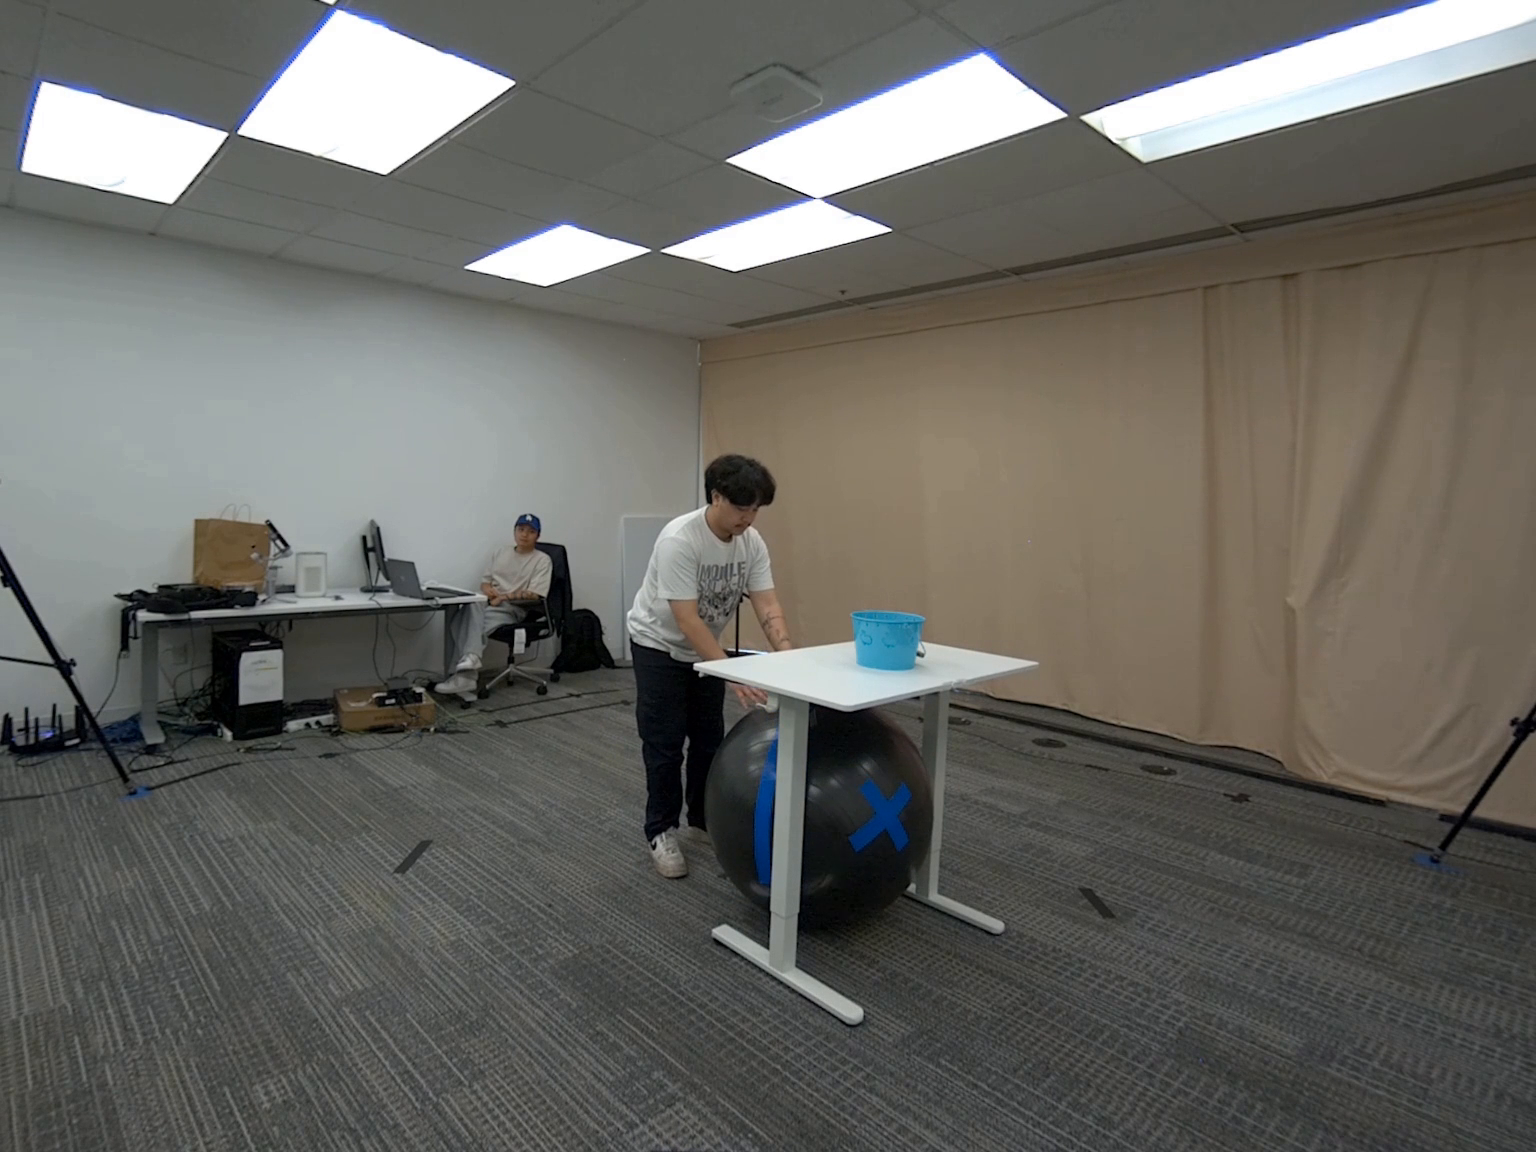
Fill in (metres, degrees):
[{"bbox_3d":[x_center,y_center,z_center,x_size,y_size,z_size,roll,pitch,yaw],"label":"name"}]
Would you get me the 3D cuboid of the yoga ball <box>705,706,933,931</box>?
[{"bbox_3d":[0.168,0.777,2.830,0.757,0.756,0.761,1,4,-1],"label":"yoga ball"}]
